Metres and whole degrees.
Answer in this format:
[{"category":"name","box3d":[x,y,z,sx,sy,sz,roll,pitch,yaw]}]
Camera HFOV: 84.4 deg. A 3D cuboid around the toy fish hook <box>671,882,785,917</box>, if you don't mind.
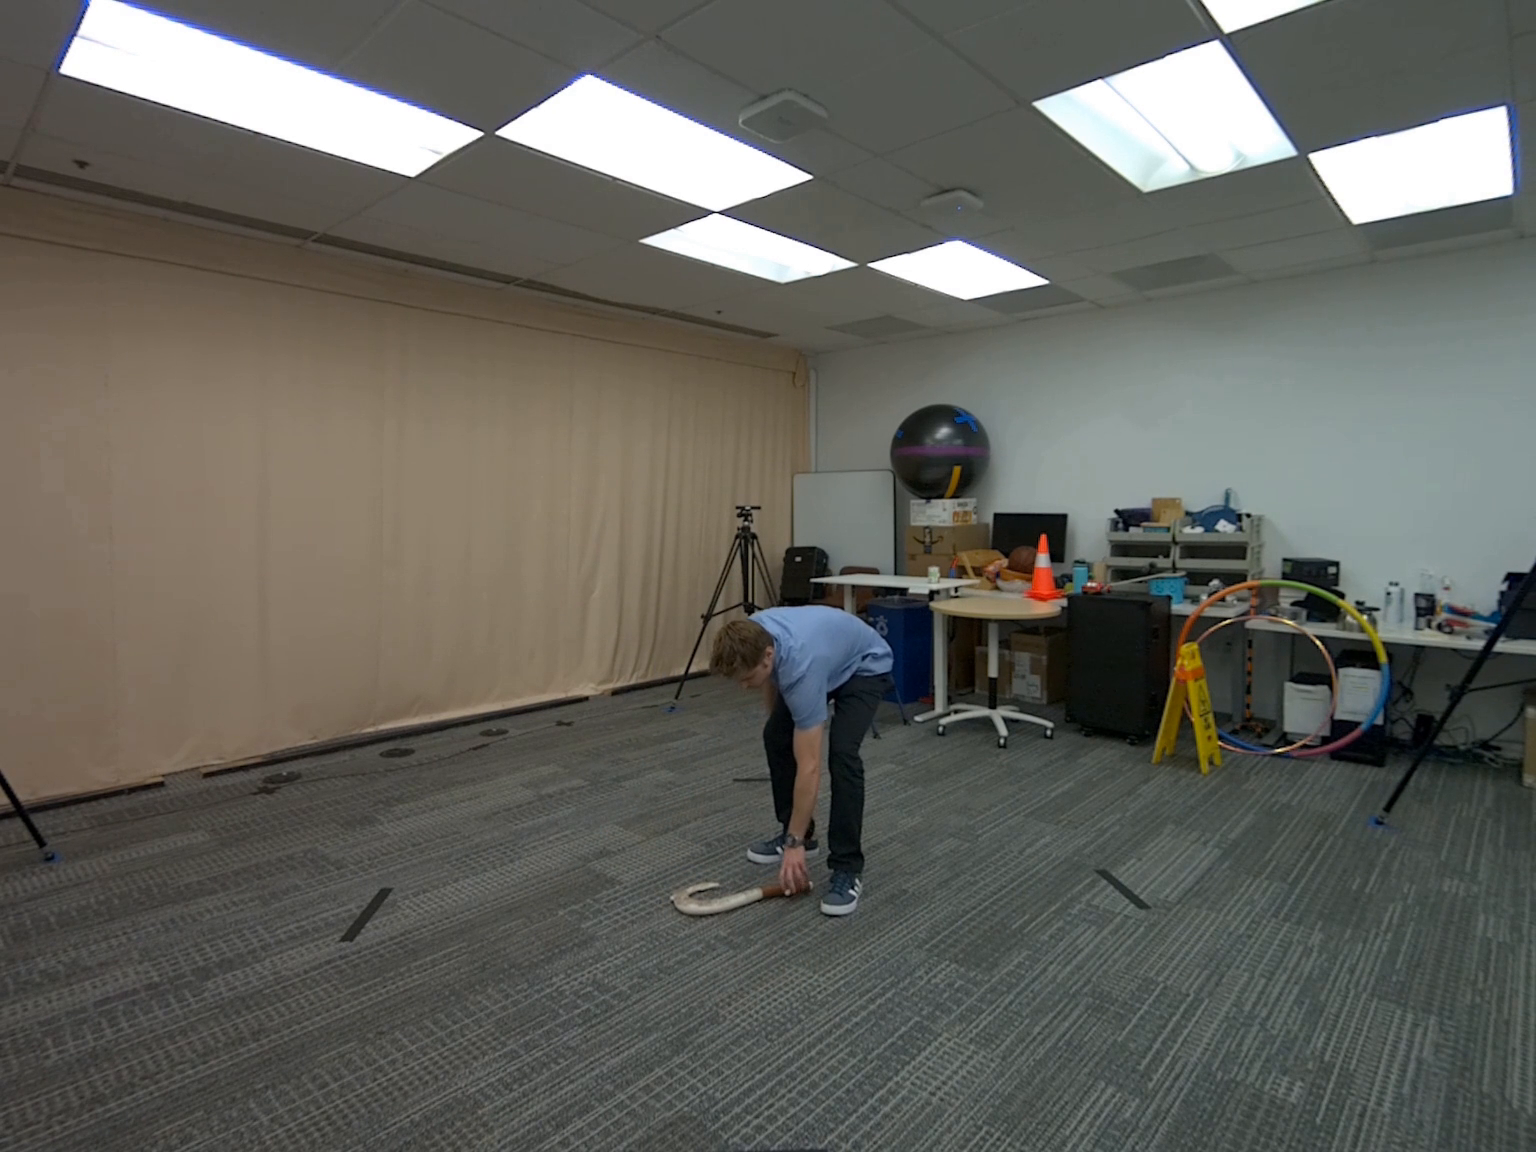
[{"category":"toy fish hook","box3d":[-0.089,1.122,2.998,0.497,0.048,0.229,-2,5,-19]}]
